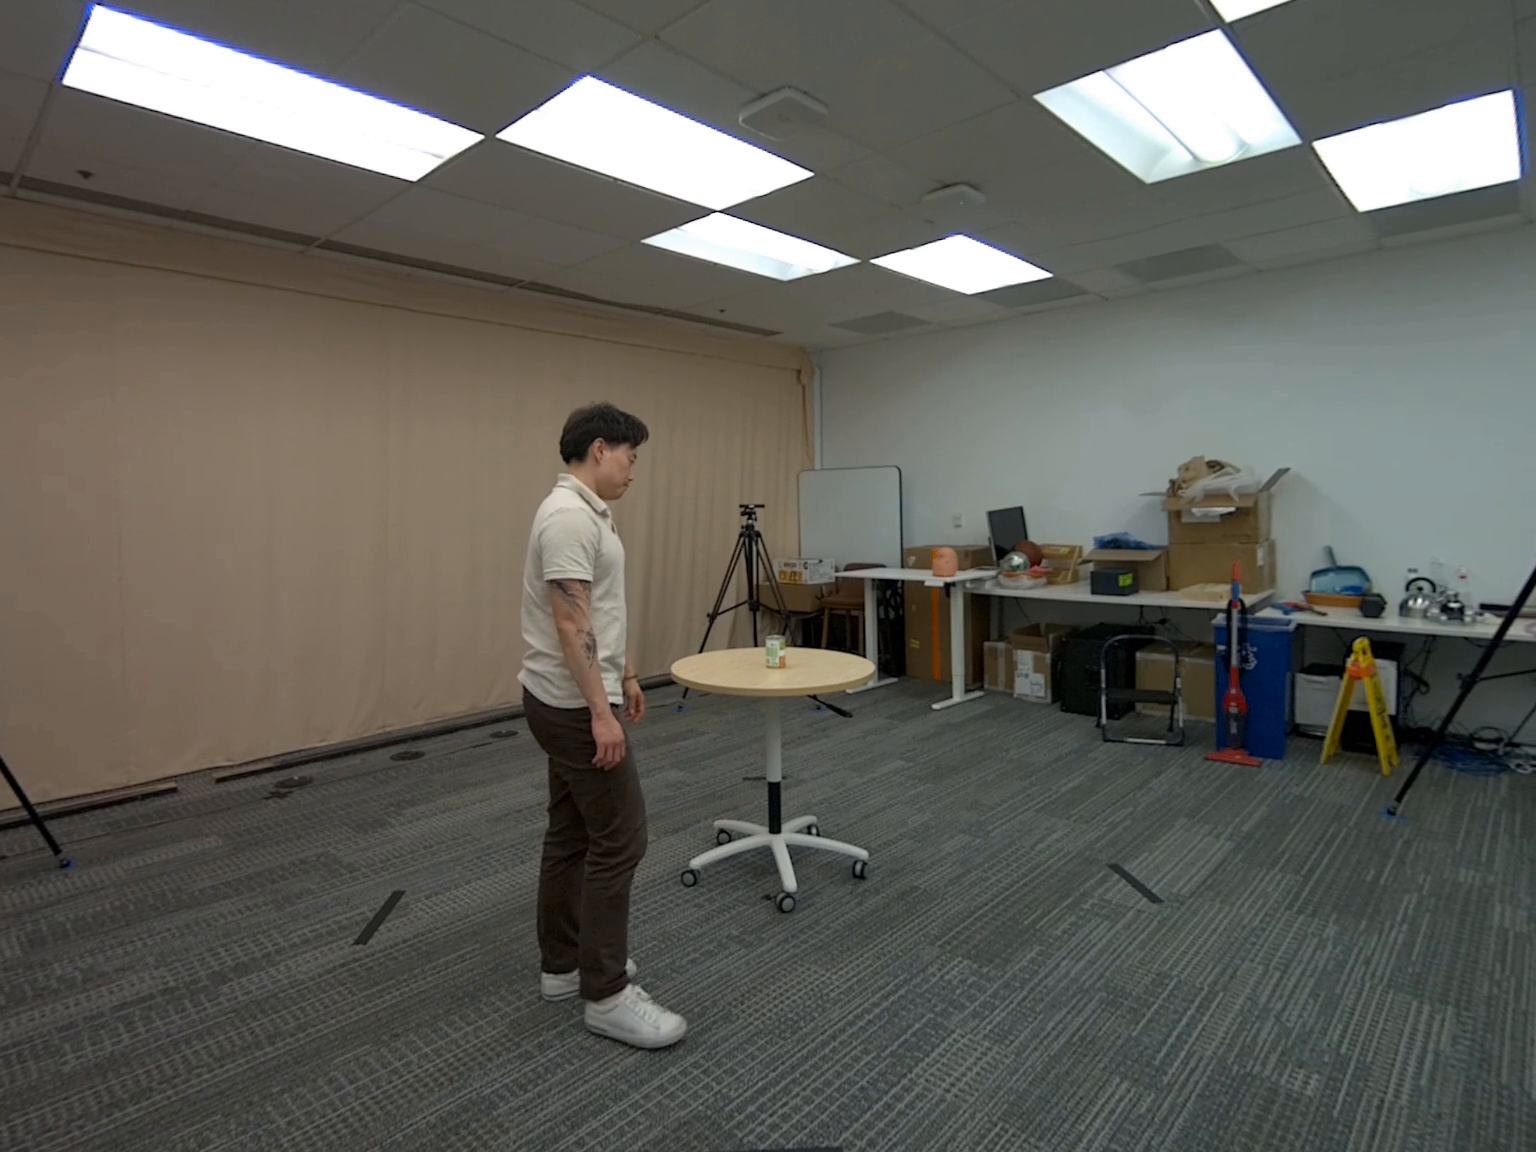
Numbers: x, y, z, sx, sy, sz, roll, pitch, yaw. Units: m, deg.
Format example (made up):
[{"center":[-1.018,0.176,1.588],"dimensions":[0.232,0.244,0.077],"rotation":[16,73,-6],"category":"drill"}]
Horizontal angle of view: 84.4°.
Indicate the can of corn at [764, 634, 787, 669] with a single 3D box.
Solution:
[{"center":[0.034,0.281,3.152],"dimensions":[0.074,0.111,0.074],"rotation":[0,3,-2],"category":"can of corn"}]
